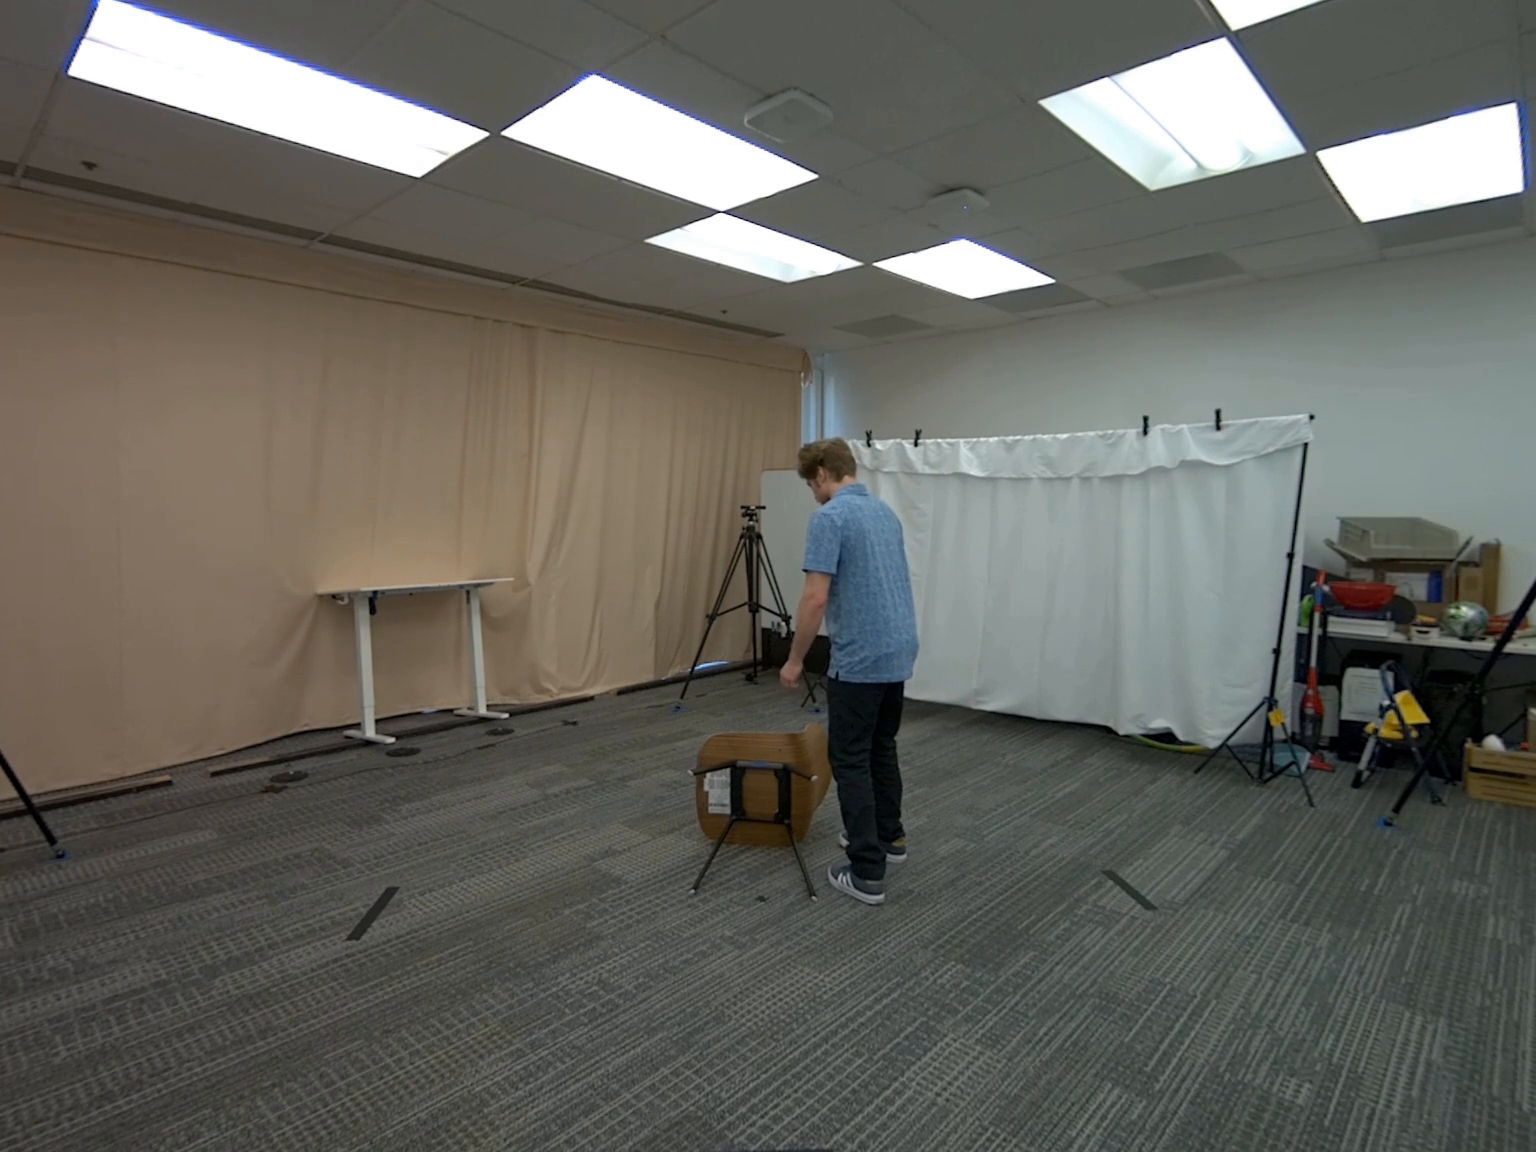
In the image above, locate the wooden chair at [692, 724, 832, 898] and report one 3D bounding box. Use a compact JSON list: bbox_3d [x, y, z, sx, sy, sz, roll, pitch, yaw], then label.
[{"bbox_3d":[-0.036,0.879,3.402,0.530,0.476,0.869,0,5,10],"label":"wooden chair"}]
